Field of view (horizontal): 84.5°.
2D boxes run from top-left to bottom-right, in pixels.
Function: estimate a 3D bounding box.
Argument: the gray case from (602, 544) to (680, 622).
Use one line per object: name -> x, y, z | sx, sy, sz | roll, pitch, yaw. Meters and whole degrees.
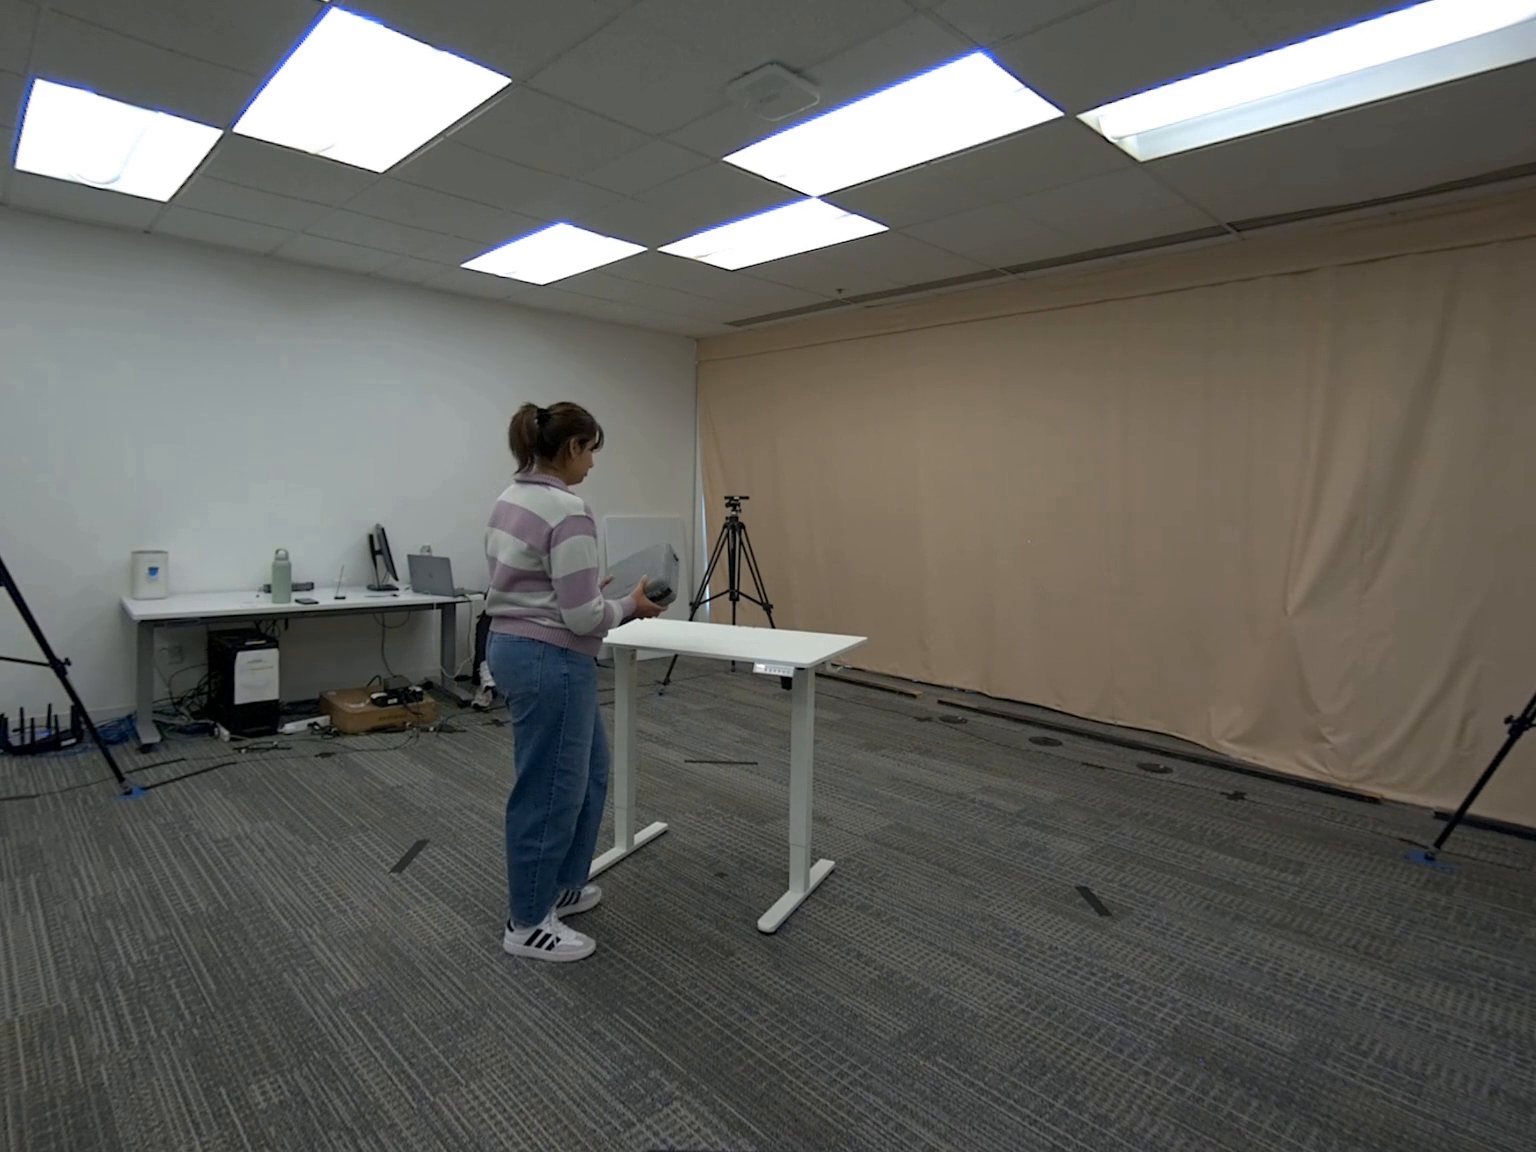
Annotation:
gray case -> -0.425, 0.021, 2.762 | 0.258, 0.101, 0.266 | -25, 31, 16
